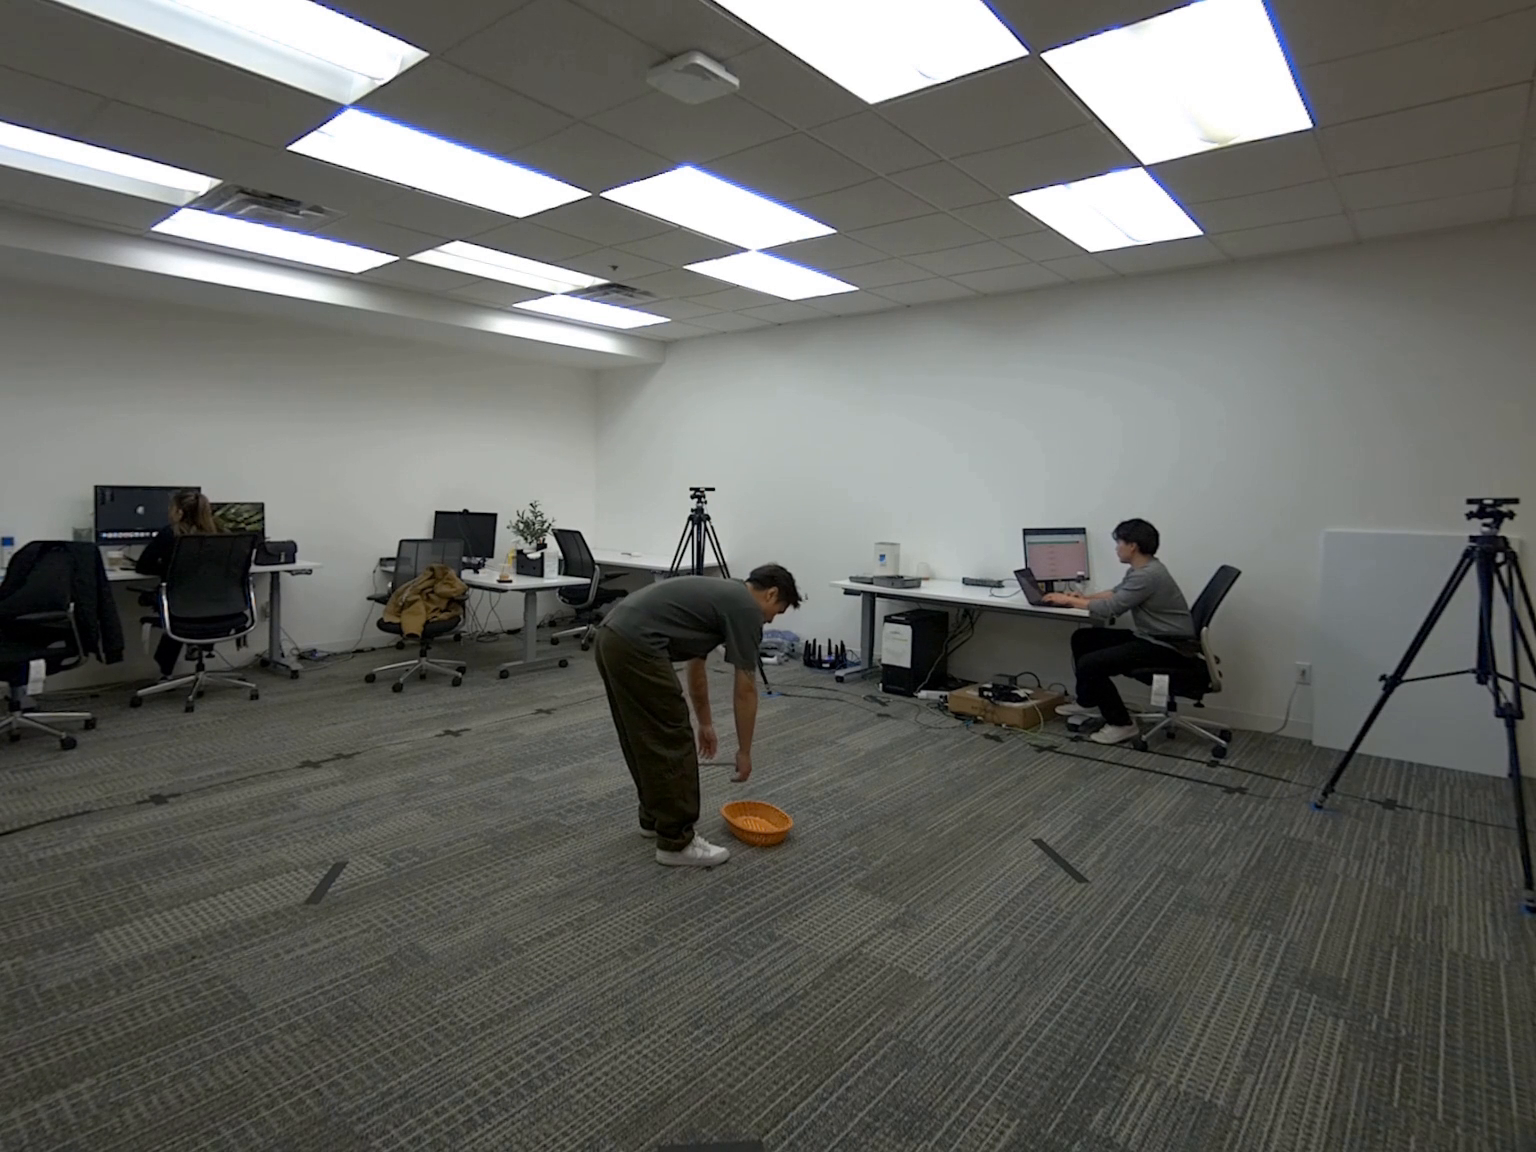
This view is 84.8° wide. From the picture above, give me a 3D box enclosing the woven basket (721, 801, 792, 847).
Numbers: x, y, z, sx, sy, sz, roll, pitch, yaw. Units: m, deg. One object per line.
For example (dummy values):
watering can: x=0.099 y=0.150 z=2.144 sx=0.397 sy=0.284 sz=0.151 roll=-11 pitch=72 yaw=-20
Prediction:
woven basket: x=-0.053 y=1.000 z=3.444 sx=0.246 sy=0.073 sz=0.361 roll=-2 pitch=6 yaw=-28
